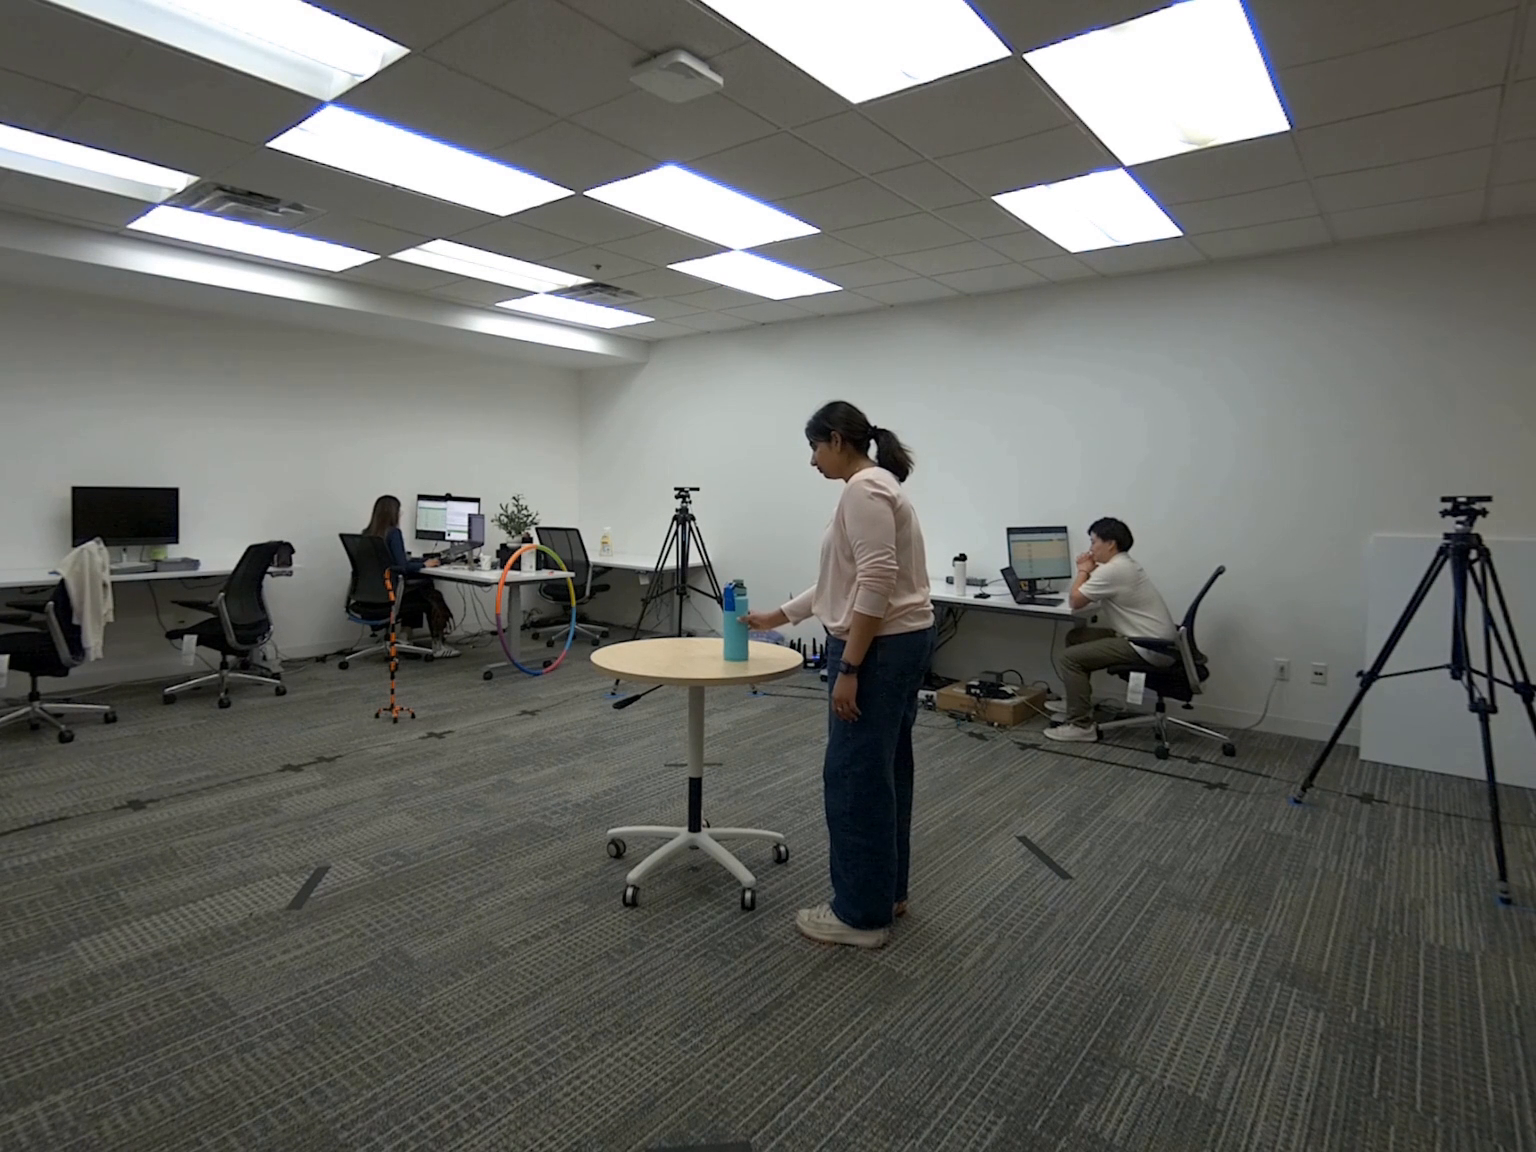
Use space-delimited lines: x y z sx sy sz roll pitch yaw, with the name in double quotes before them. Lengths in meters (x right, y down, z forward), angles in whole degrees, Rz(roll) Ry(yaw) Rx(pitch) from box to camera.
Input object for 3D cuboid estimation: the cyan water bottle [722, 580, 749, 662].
"cyan water bottle" -0.123 0.150 3.010 0.092 0.282 0.093 -4 3 -1
